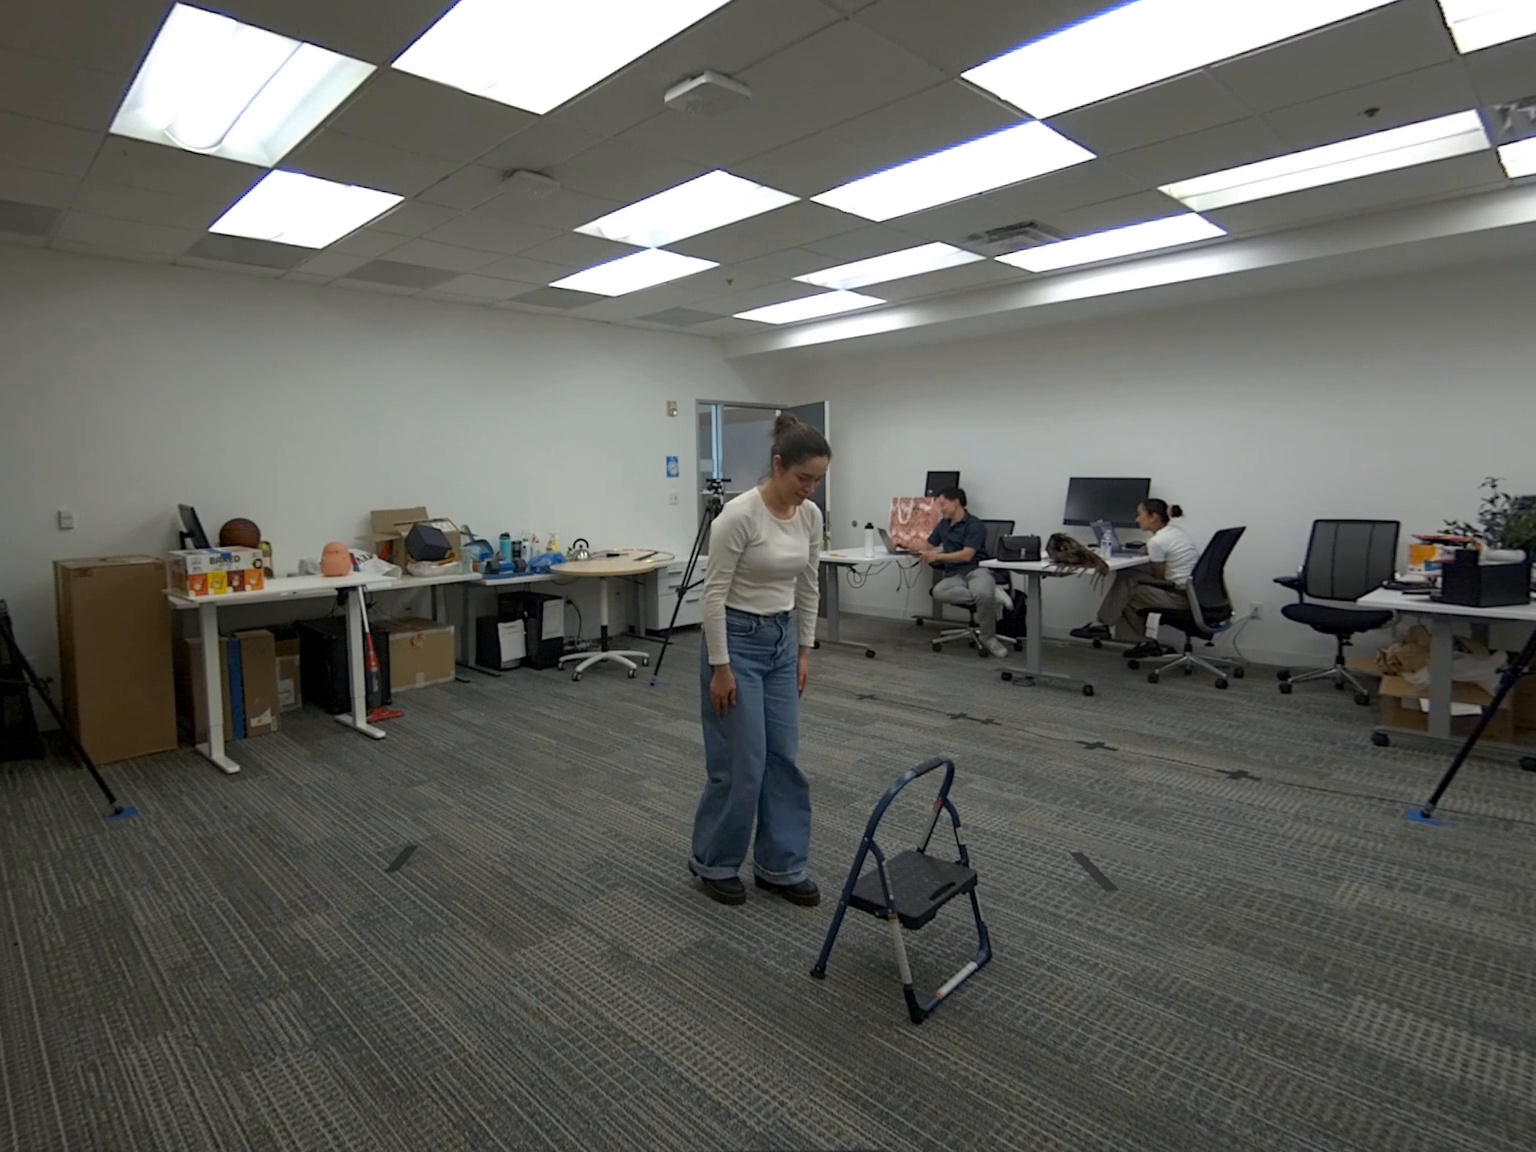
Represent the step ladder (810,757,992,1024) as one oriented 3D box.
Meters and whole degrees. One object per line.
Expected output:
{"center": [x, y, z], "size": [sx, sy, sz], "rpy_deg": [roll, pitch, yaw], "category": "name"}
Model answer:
{"center": [0.386, 0.814, 2.418], "size": [0.360, 0.603, 0.419], "rpy_deg": [3, 6, 41], "category": "step ladder"}
